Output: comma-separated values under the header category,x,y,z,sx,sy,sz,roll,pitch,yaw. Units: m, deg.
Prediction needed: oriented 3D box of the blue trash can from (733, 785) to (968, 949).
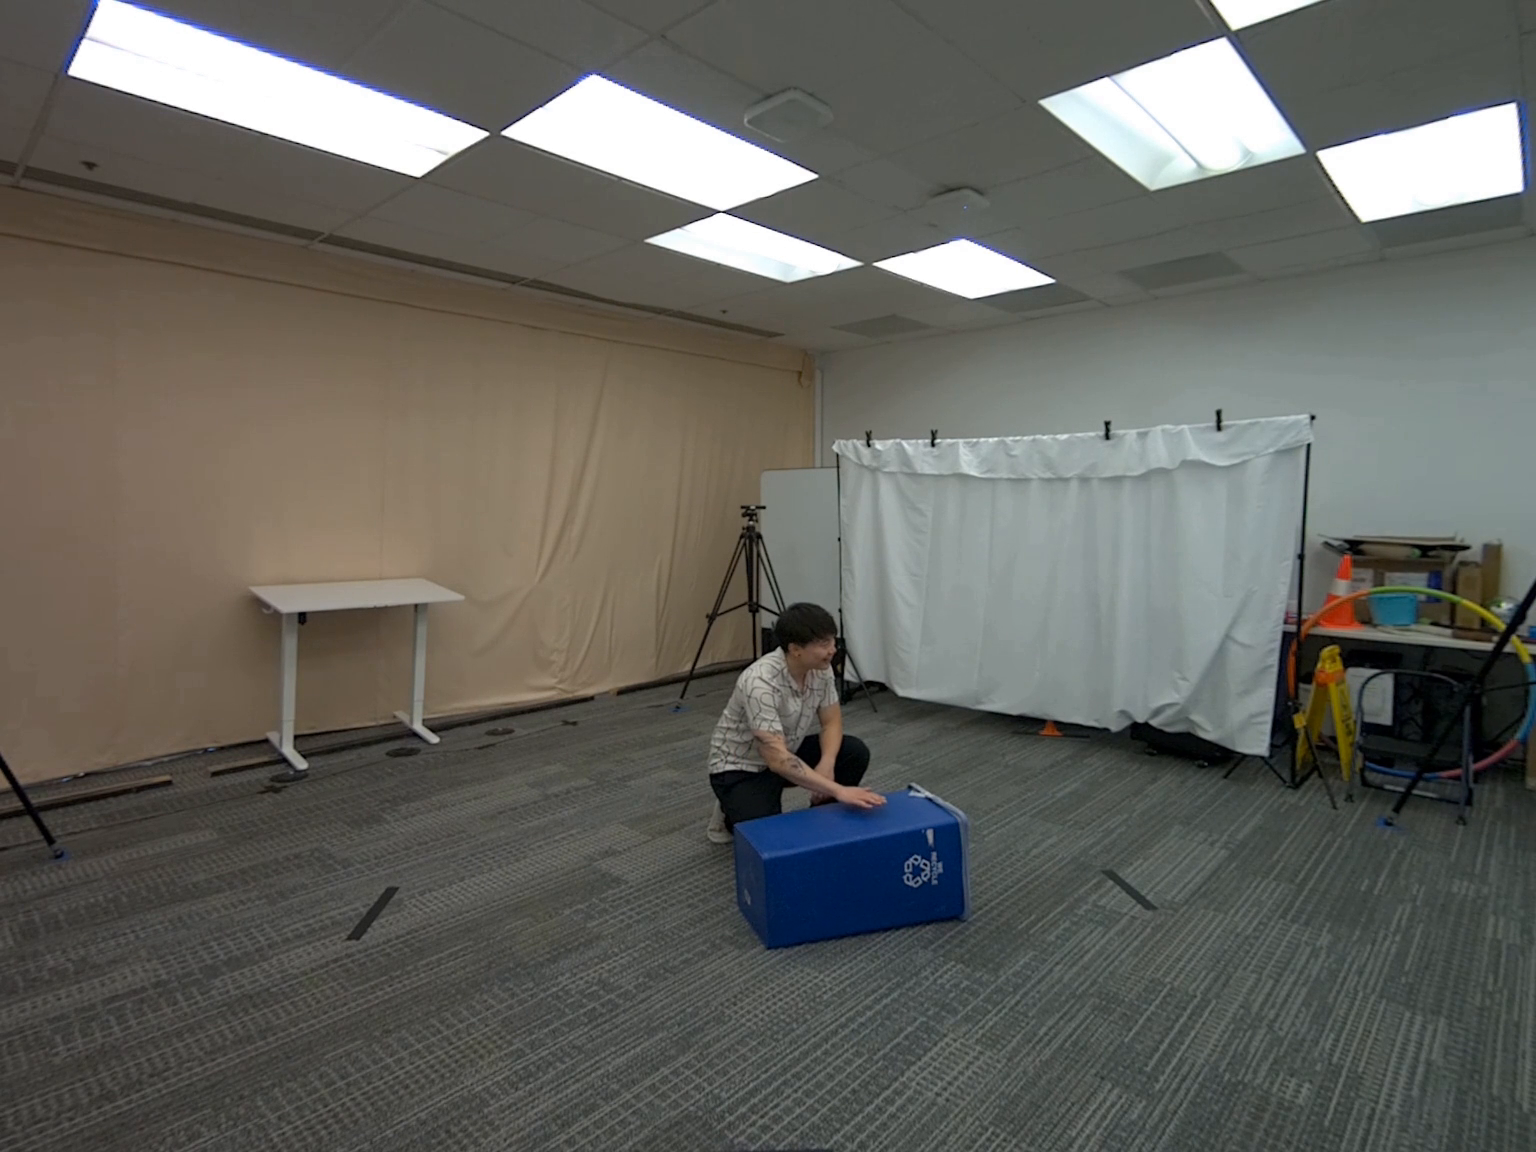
category,x,y,z,sx,sy,sz,roll,pitch,yaw
blue trash can,0.277,0.984,2.869,0.702,0.373,0.385,-5,5,-17
